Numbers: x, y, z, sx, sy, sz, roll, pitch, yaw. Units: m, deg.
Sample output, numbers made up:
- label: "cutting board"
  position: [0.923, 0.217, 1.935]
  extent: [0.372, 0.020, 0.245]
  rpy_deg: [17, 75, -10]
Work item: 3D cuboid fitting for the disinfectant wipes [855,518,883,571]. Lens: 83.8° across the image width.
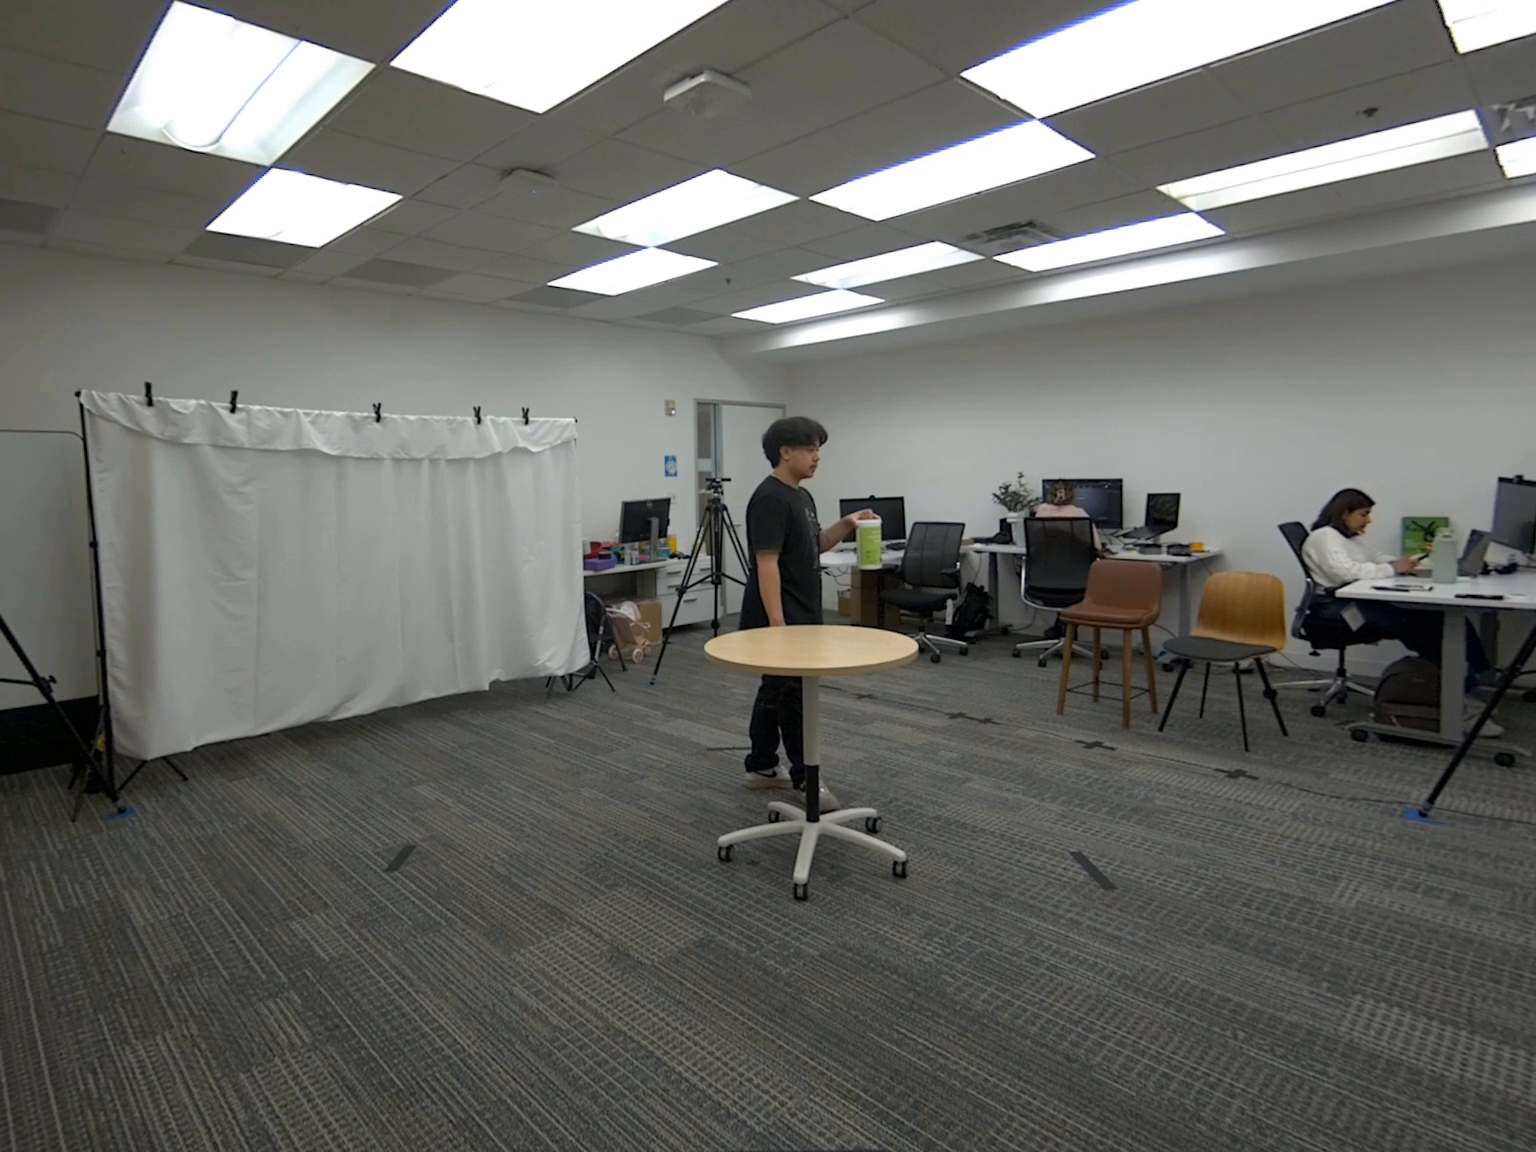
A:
- label: "disinfectant wipes"
  position: [0.439, -0.139, 3.759]
  extent: [0.118, 0.216, 0.118]
  rpy_deg: [-2, 6, -1]
